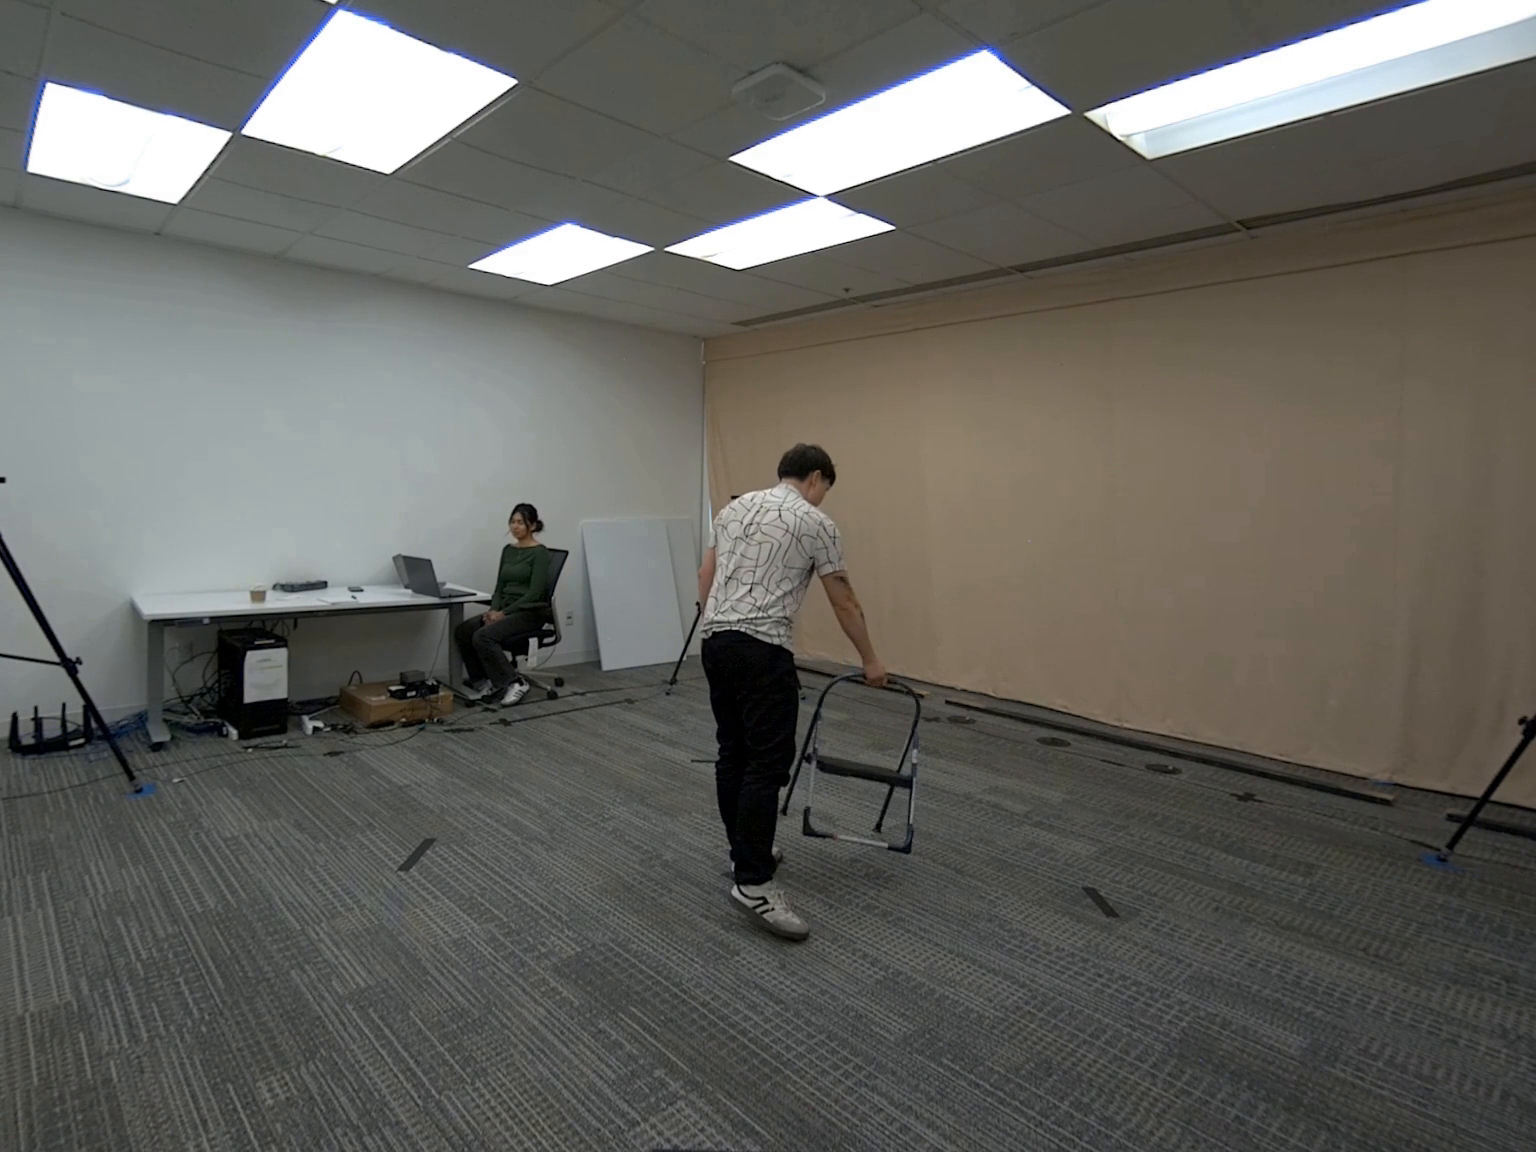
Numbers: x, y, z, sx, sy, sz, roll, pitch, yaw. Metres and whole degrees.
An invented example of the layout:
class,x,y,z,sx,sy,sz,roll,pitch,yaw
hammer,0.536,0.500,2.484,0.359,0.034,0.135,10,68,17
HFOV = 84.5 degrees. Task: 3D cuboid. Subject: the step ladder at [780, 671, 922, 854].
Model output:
class,x,y,z,sx,sy,sz,roll,pitch,yaw
step ladder,0.341,0.679,3.206,0.426,0.608,0.351,12,-7,-12
